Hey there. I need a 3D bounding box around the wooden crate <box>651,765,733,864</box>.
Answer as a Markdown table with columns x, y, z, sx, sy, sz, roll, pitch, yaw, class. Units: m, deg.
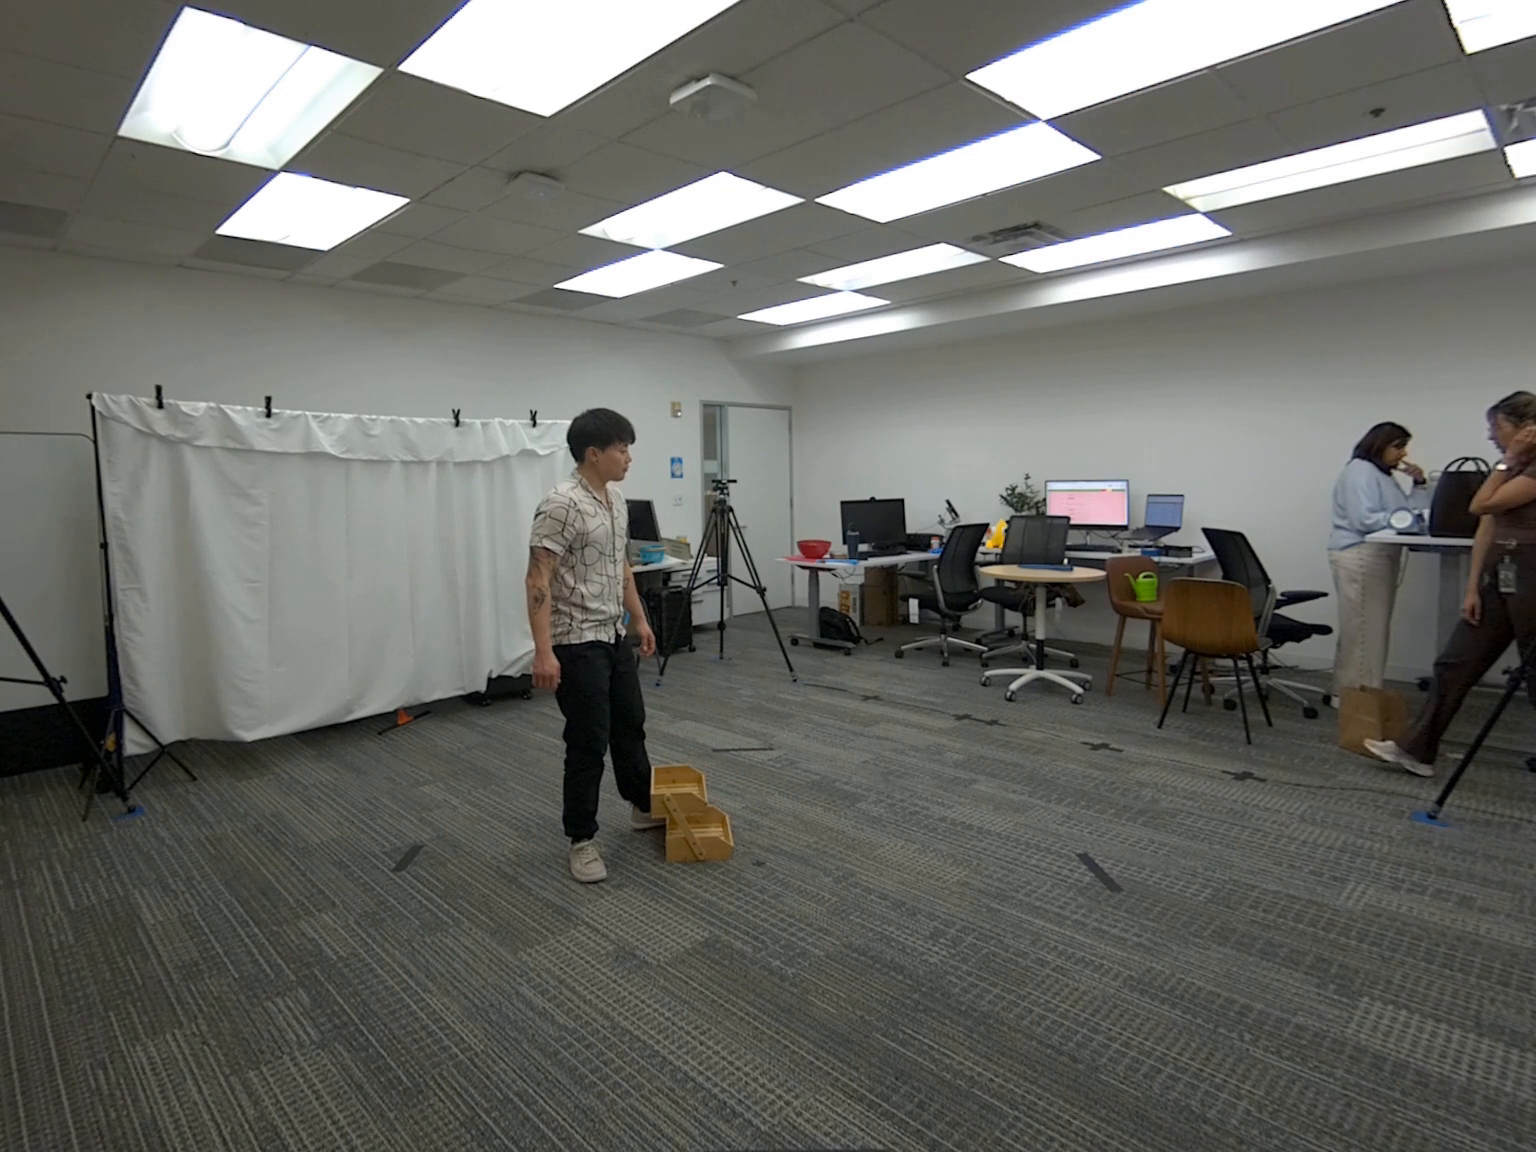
| x | y | z | sx | sy | sz | roll | pitch | yaw | class |
| --- | --- | --- | --- | --- | --- | --- | --- | --- | --- |
| -0.284 | 0.903 | 3.280 | 0.301 | 0.272 | 0.327 | -2 | 5 | -5 | wooden crate |
